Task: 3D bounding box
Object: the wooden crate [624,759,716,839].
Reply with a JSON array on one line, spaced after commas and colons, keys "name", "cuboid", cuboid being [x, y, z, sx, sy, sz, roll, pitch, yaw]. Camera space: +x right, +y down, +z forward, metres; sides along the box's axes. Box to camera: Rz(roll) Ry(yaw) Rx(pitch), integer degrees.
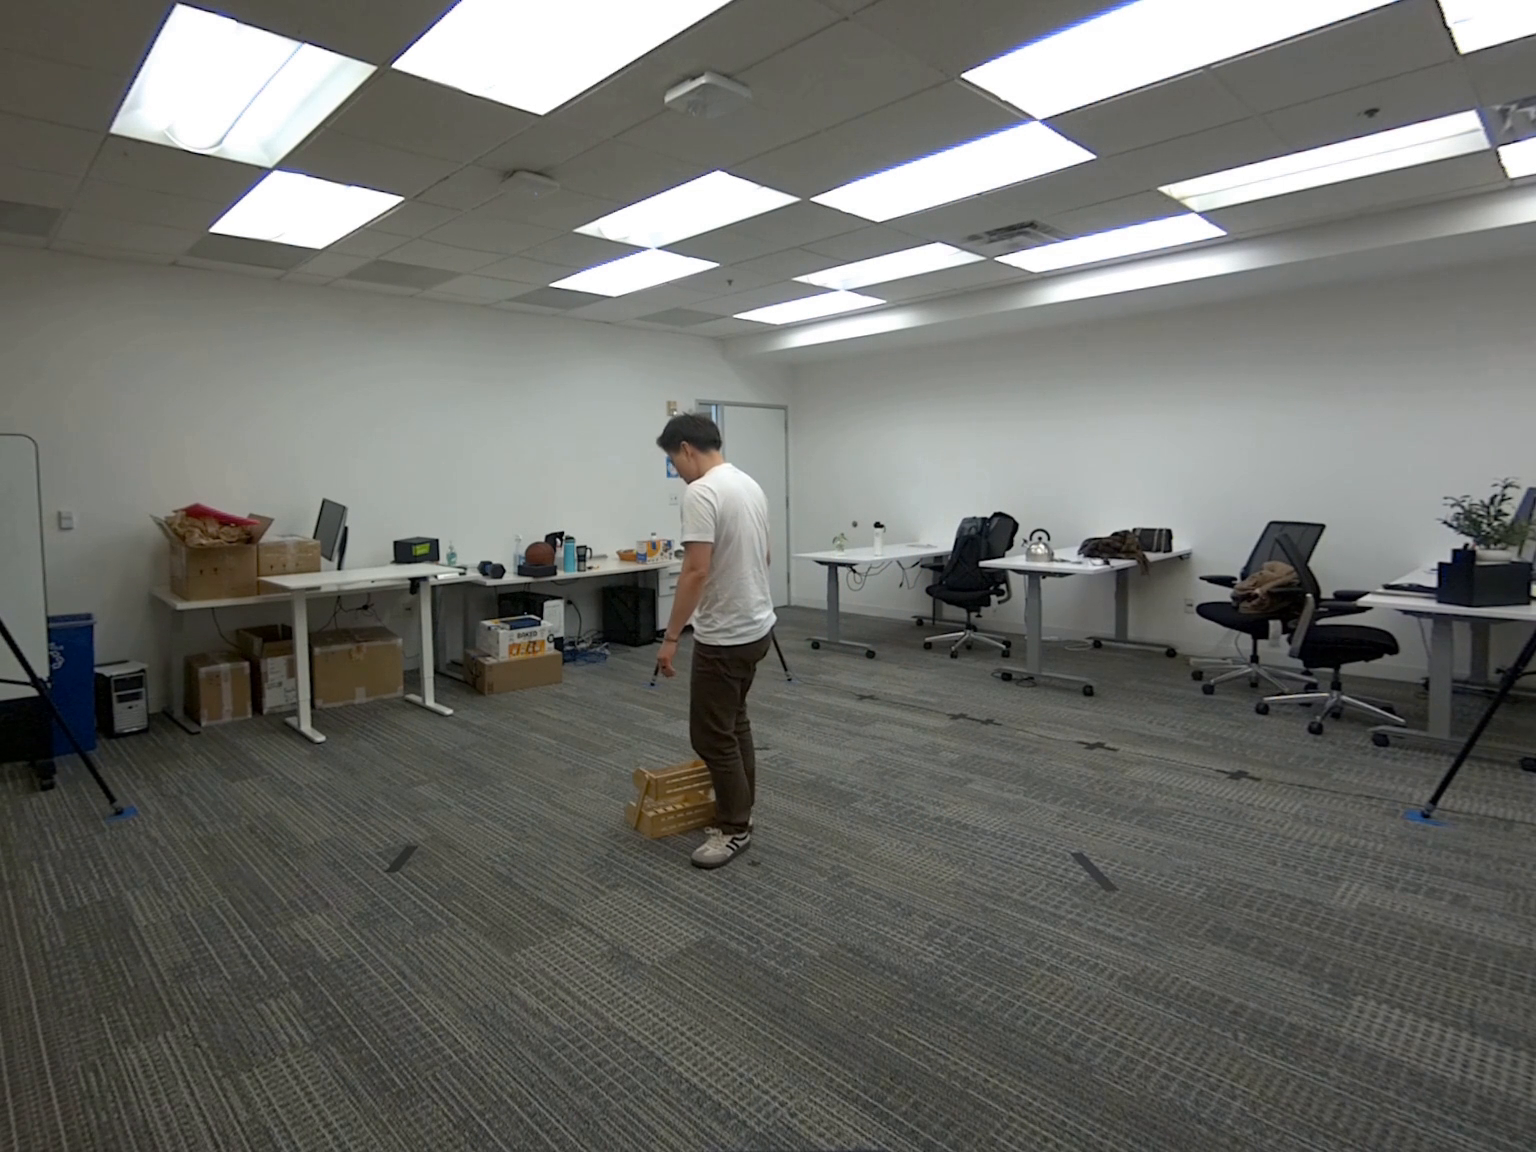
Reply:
[{"name": "wooden crate", "cuboid": [-0.403, 0.877, 3.484, 0.316, 0.272, 0.311, -4, 6, -33]}]
